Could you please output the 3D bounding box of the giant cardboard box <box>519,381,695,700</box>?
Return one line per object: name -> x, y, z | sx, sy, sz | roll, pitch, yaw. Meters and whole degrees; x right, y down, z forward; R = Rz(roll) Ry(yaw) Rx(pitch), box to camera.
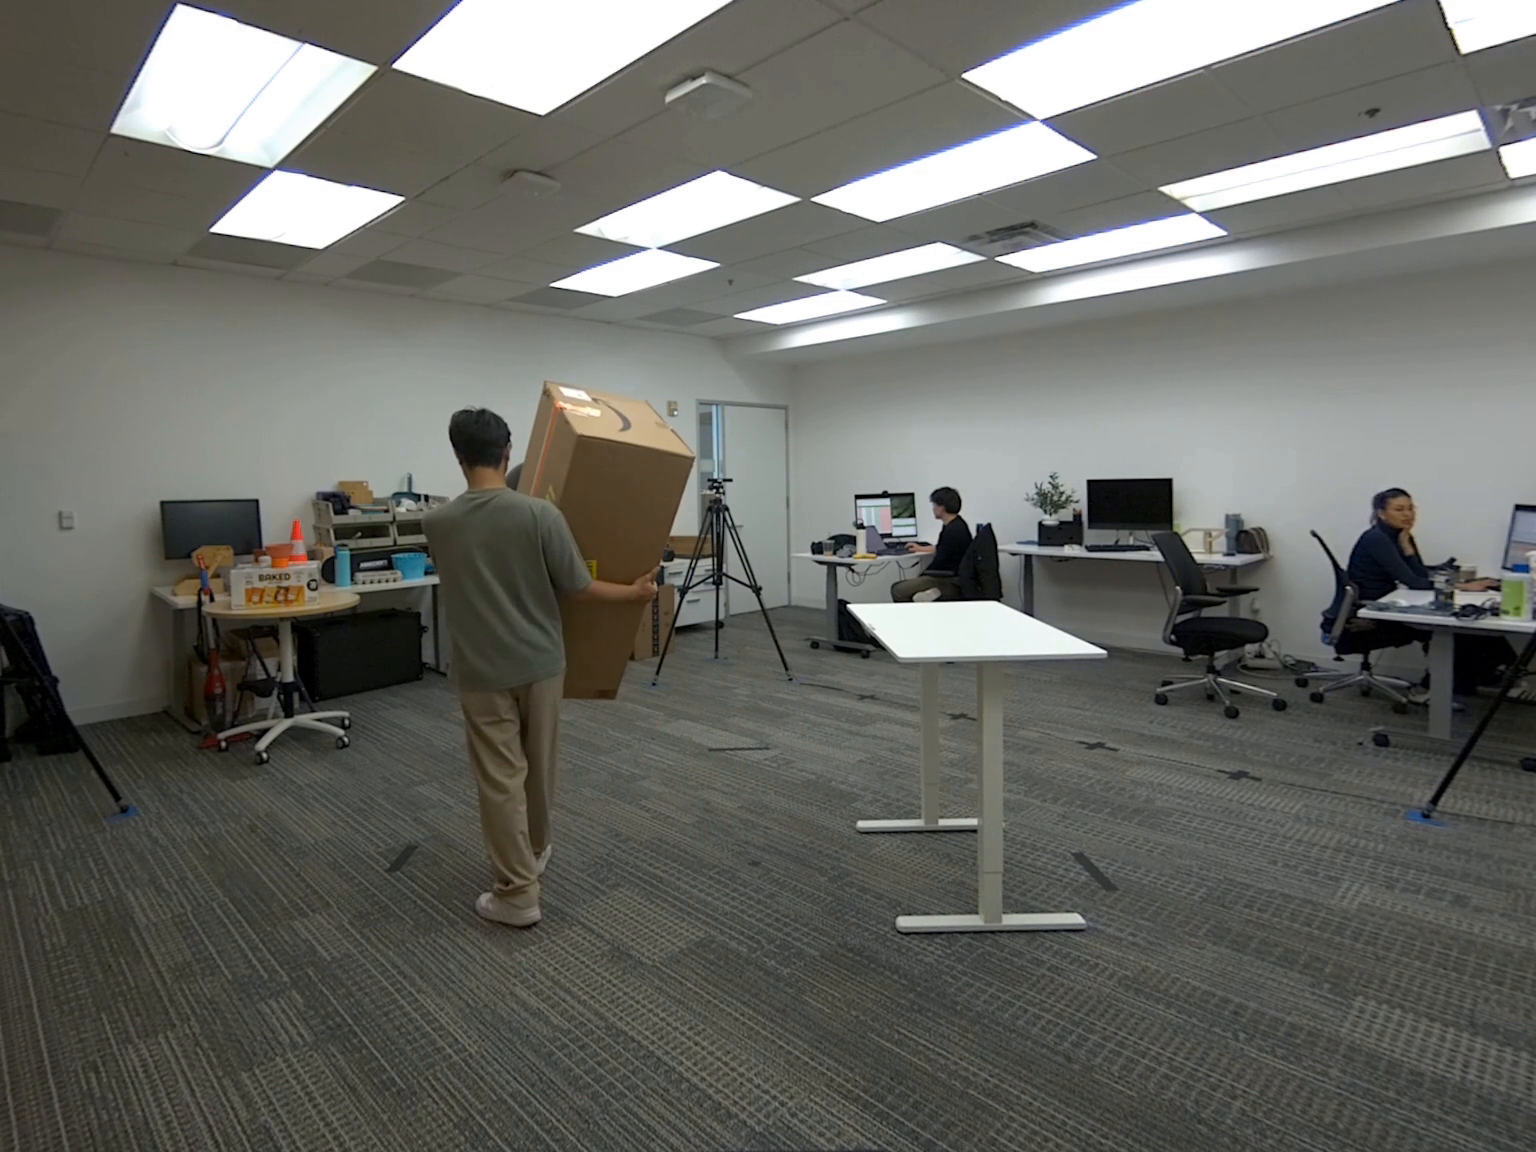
giant cardboard box -> -0.709, -0.127, 3.213 | 0.414, 1.015, 0.600 | 8, 24, -31
